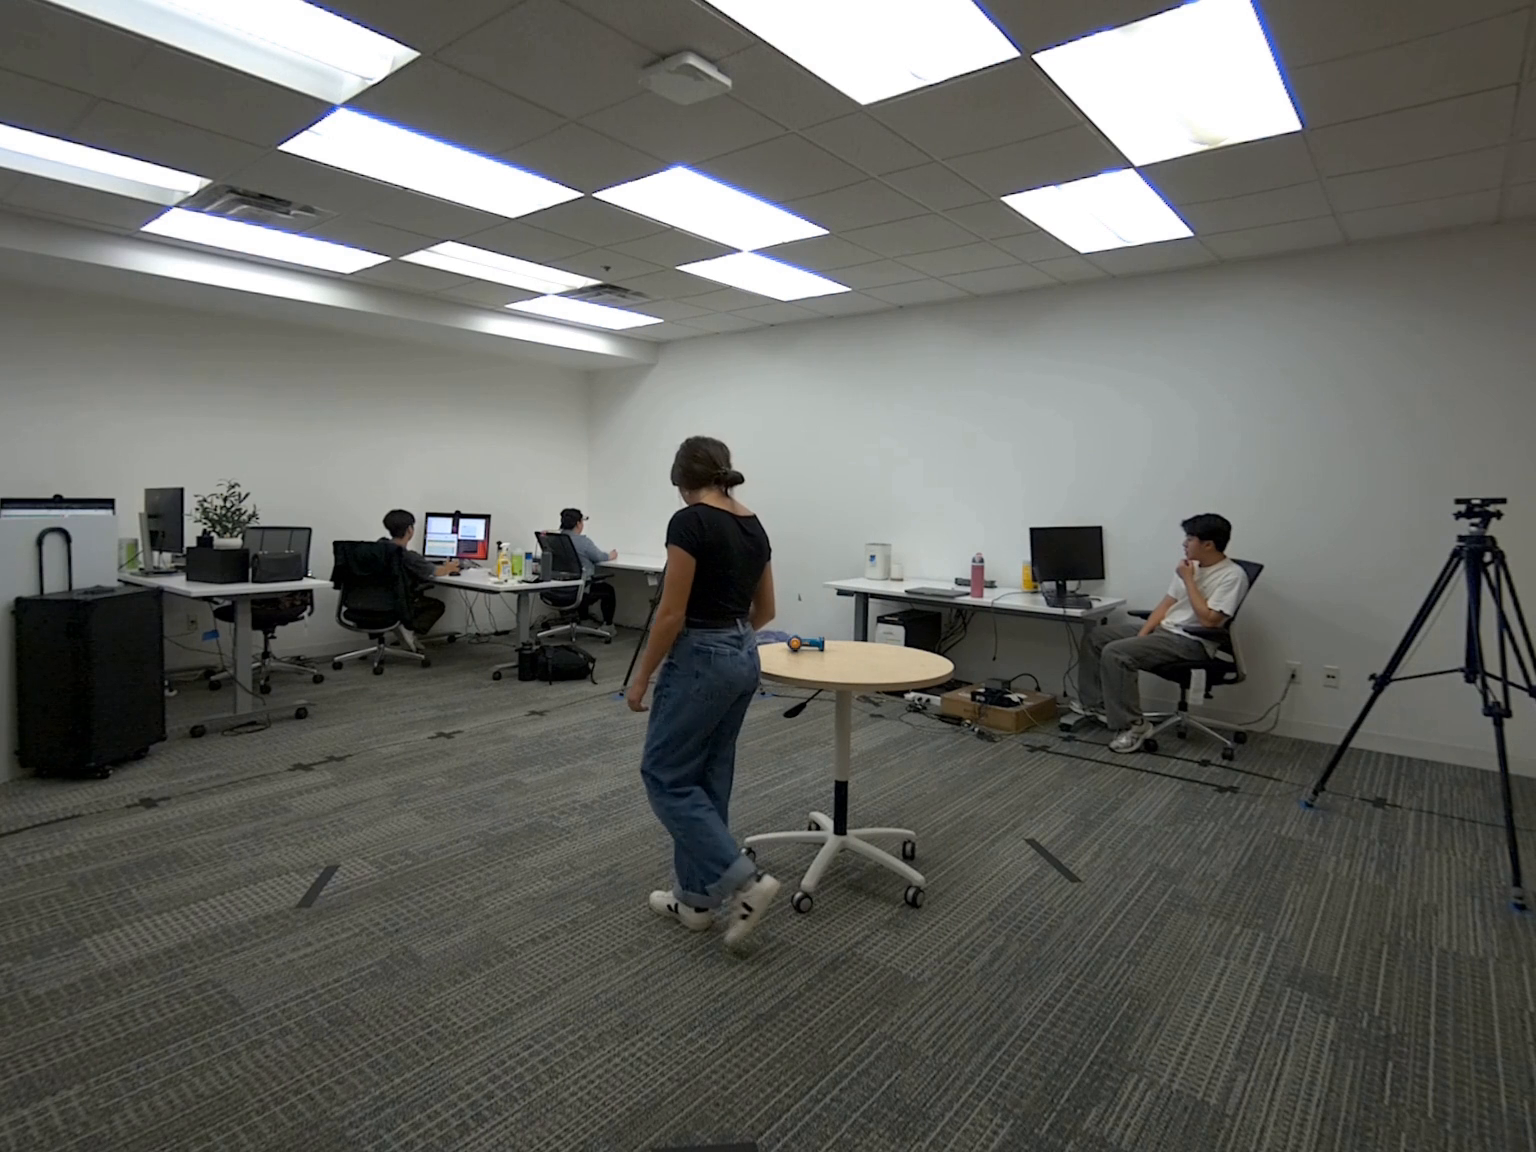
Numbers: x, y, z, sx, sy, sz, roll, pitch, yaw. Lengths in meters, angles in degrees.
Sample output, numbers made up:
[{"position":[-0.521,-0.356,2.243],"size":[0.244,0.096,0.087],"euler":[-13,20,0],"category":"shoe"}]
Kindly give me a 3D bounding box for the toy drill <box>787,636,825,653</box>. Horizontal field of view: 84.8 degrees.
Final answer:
[{"position":[0.139,0.247,3.216],"size":[0.147,0.061,0.168],"euler":[2,-2,3],"category":"toy drill"}]
